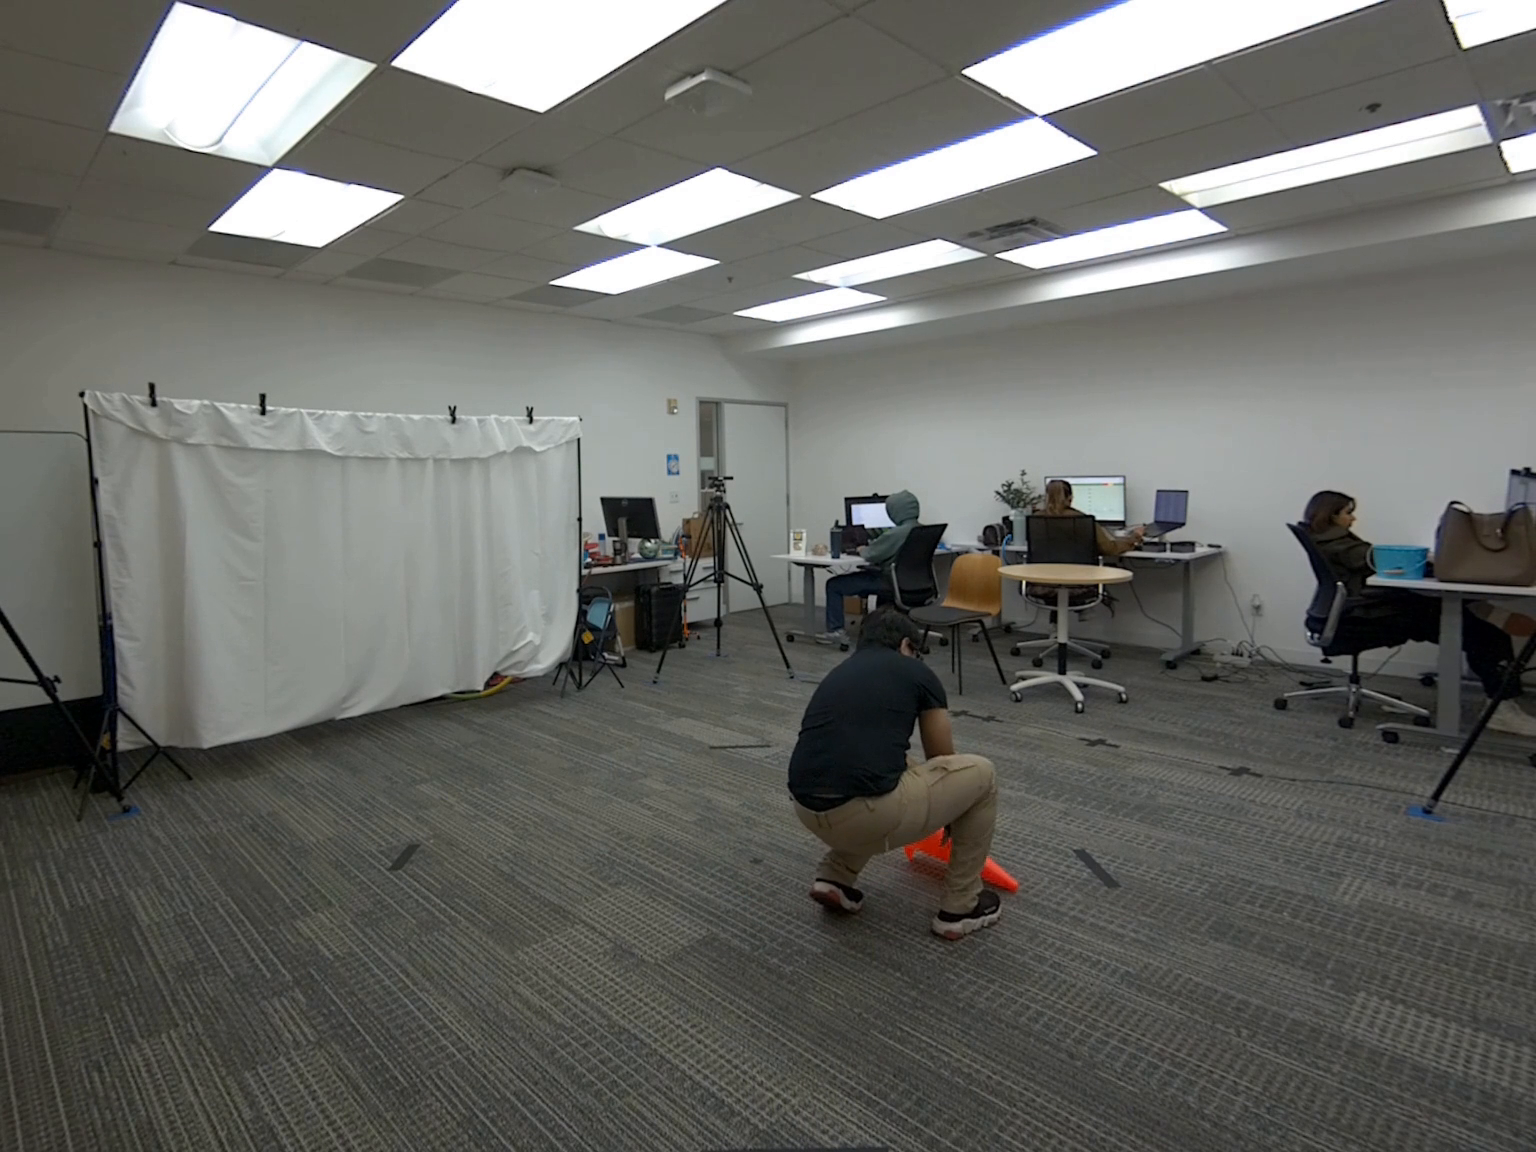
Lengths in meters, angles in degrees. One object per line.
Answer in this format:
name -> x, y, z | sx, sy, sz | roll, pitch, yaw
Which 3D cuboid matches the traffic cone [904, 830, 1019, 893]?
traffic cone -> 0.700, 0.983, 2.961 | 0.398, 0.198, 0.203 | 27, 60, 37
